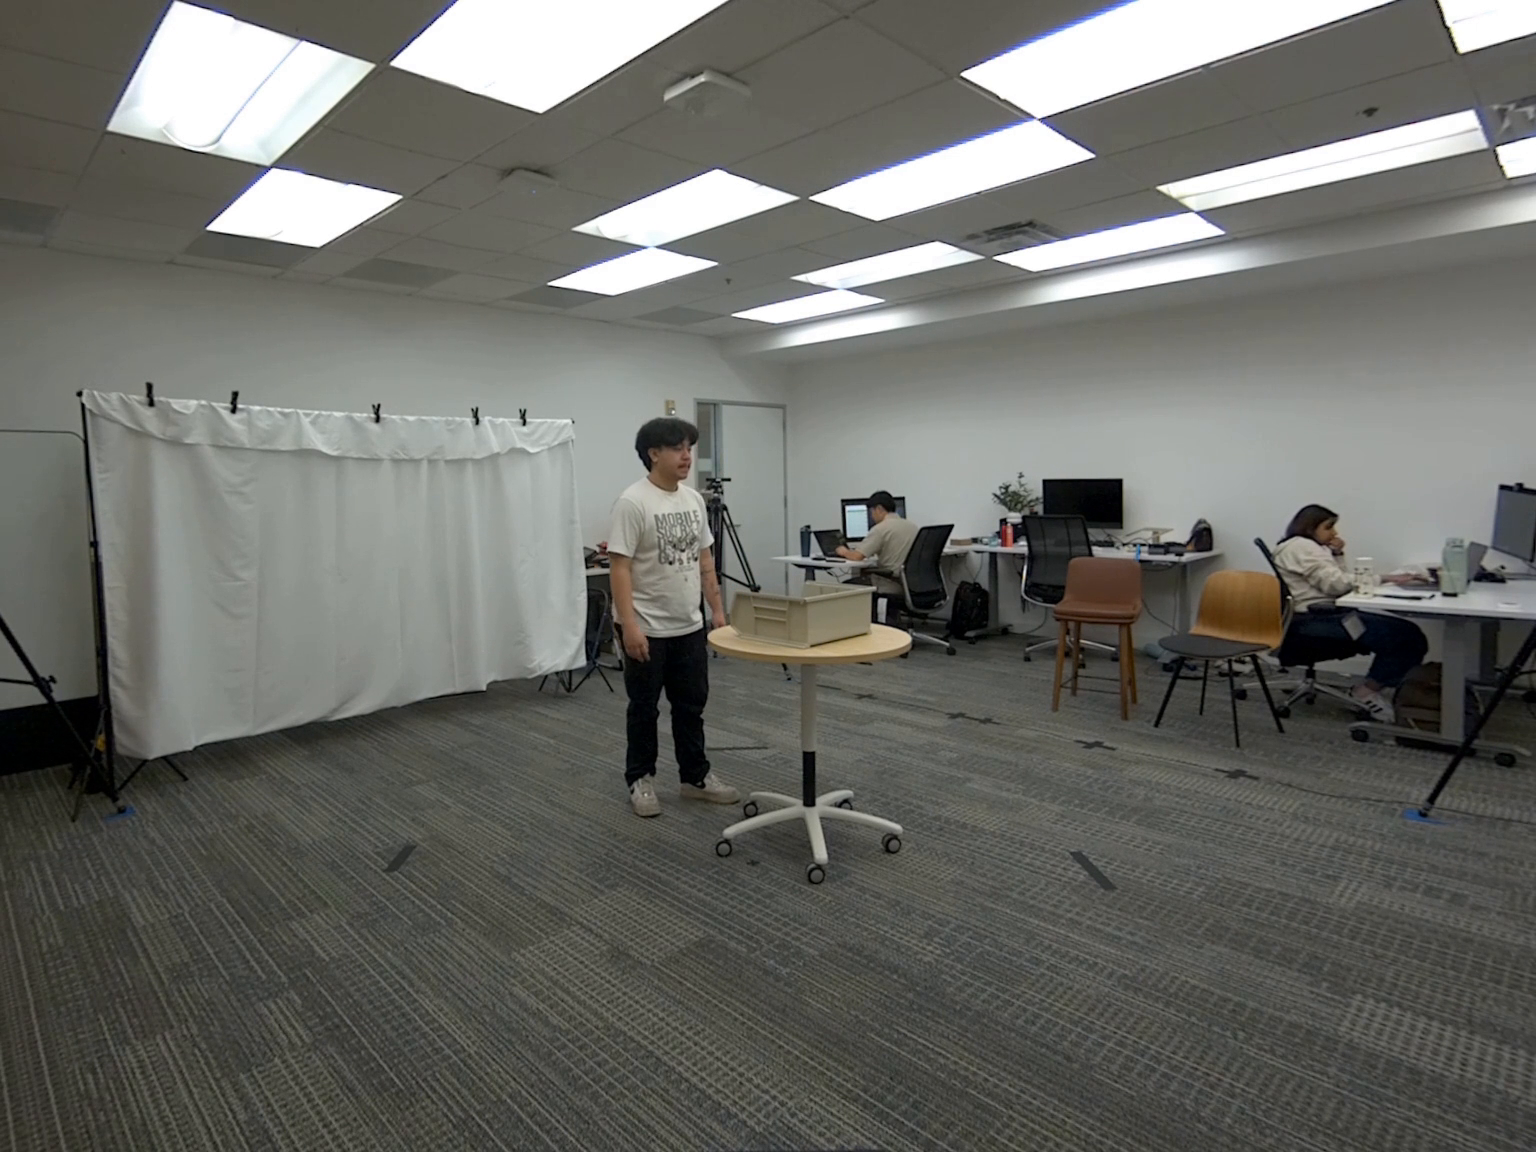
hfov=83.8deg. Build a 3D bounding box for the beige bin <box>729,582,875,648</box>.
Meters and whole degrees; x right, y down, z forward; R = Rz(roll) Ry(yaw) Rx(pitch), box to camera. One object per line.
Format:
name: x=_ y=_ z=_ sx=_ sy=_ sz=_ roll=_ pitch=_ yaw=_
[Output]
beige bin: x=0.126 y=0.139 z=3.239 sx=0.389 sy=0.188 sz=0.411 roll=6 pitch=8 yaw=42
